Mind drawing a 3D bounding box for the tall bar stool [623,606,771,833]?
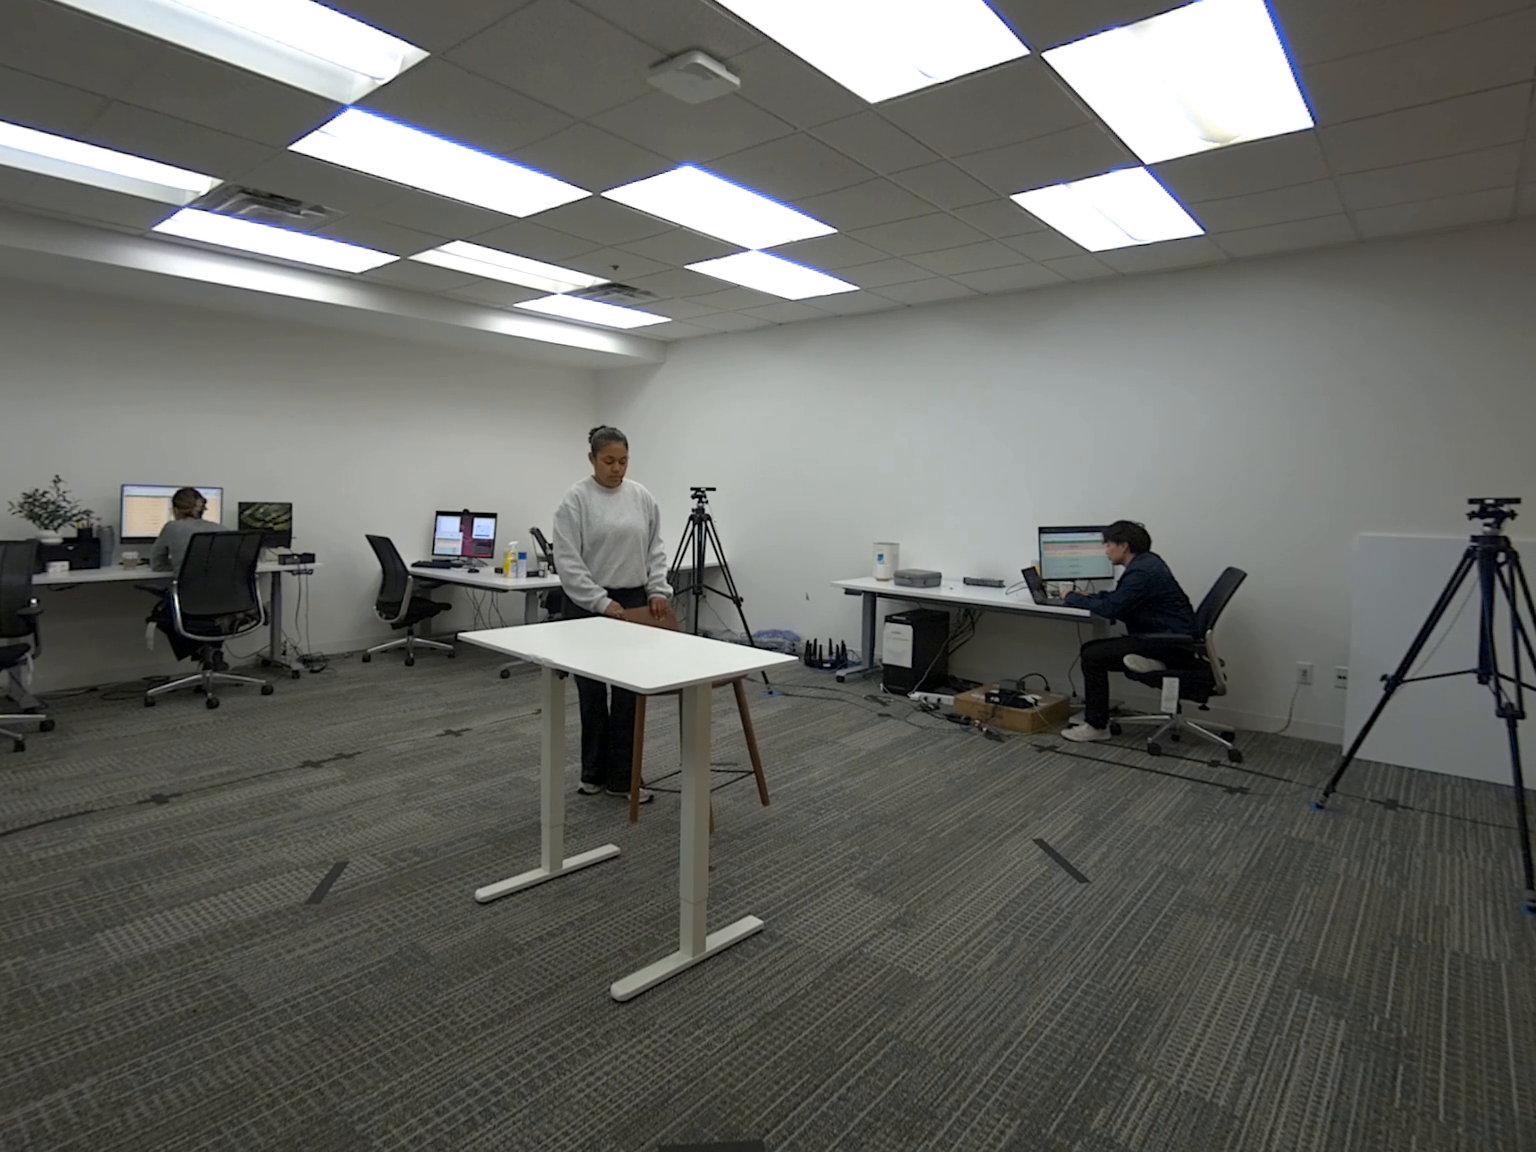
[{"bbox_3d":[-0.351,0.555,3.564,0.479,0.894,0.443,-10,-4,37],"label":"tall bar stool"}]
